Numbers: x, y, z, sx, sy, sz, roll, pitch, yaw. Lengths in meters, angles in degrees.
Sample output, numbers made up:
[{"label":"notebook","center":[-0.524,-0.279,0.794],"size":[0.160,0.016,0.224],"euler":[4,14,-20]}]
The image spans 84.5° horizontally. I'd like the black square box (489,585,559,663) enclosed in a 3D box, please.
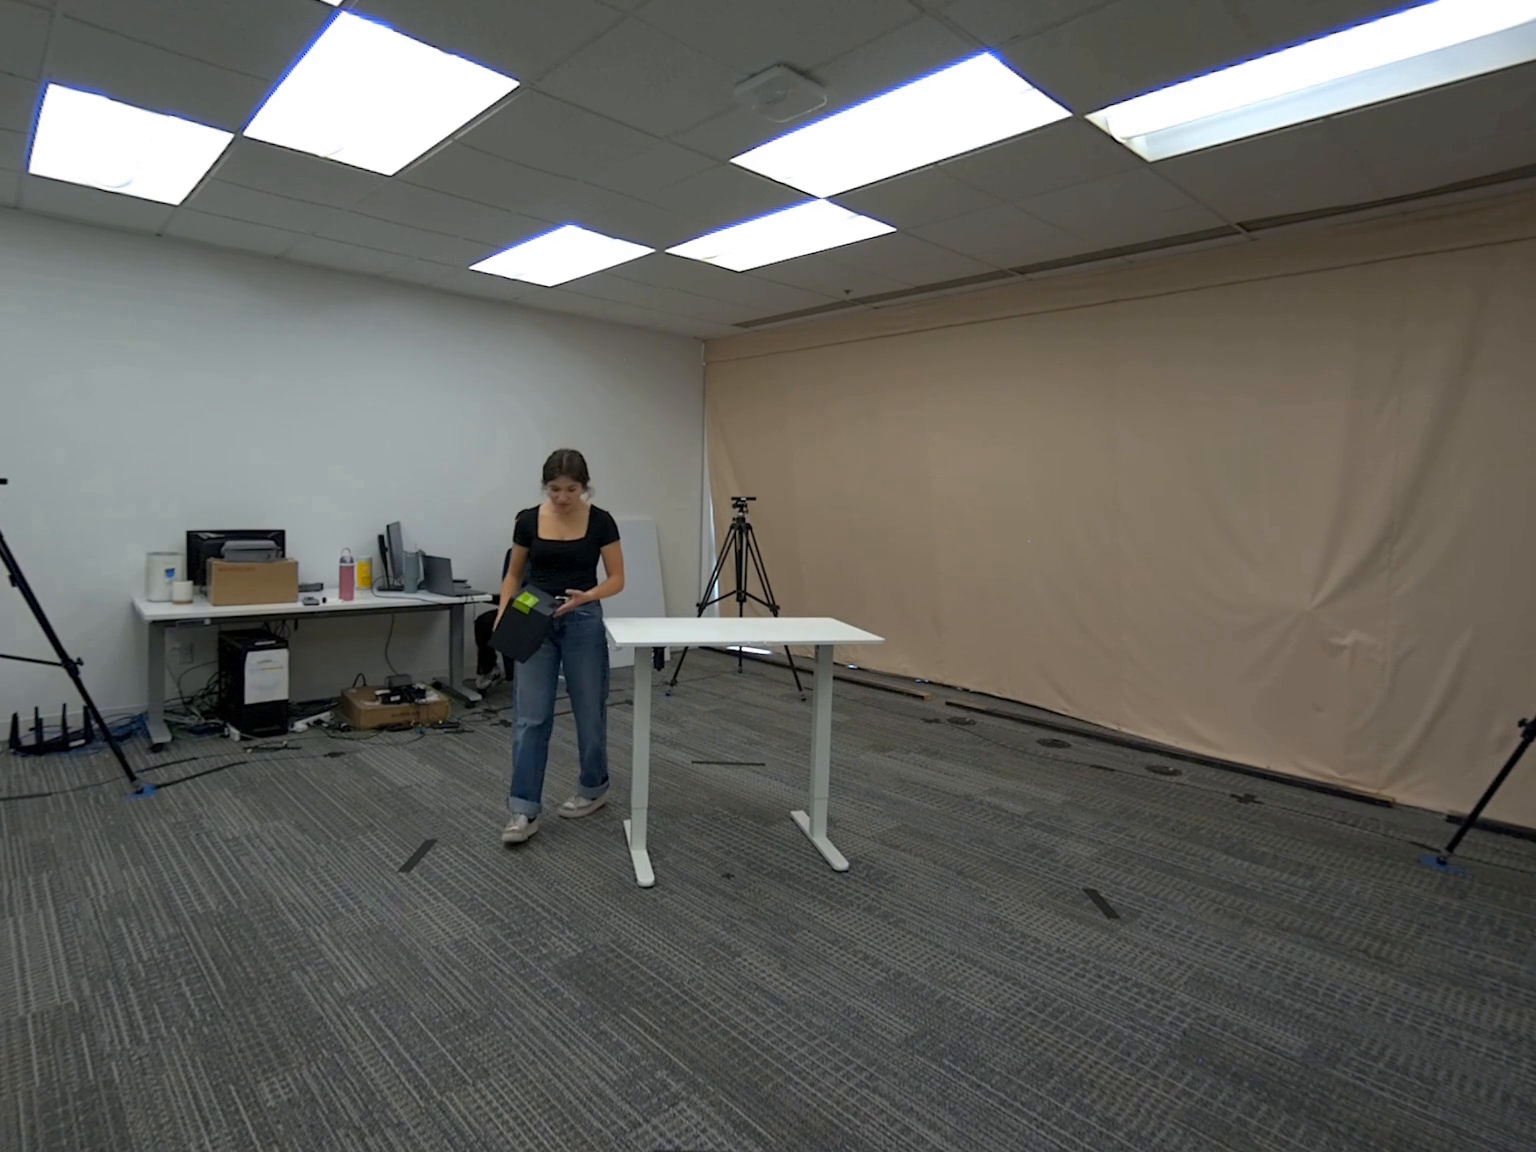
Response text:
[{"label":"black square box","center":[-0.959,0.177,3.260],"size":[0.156,0.216,0.229],"euler":[27,10,-3]}]
